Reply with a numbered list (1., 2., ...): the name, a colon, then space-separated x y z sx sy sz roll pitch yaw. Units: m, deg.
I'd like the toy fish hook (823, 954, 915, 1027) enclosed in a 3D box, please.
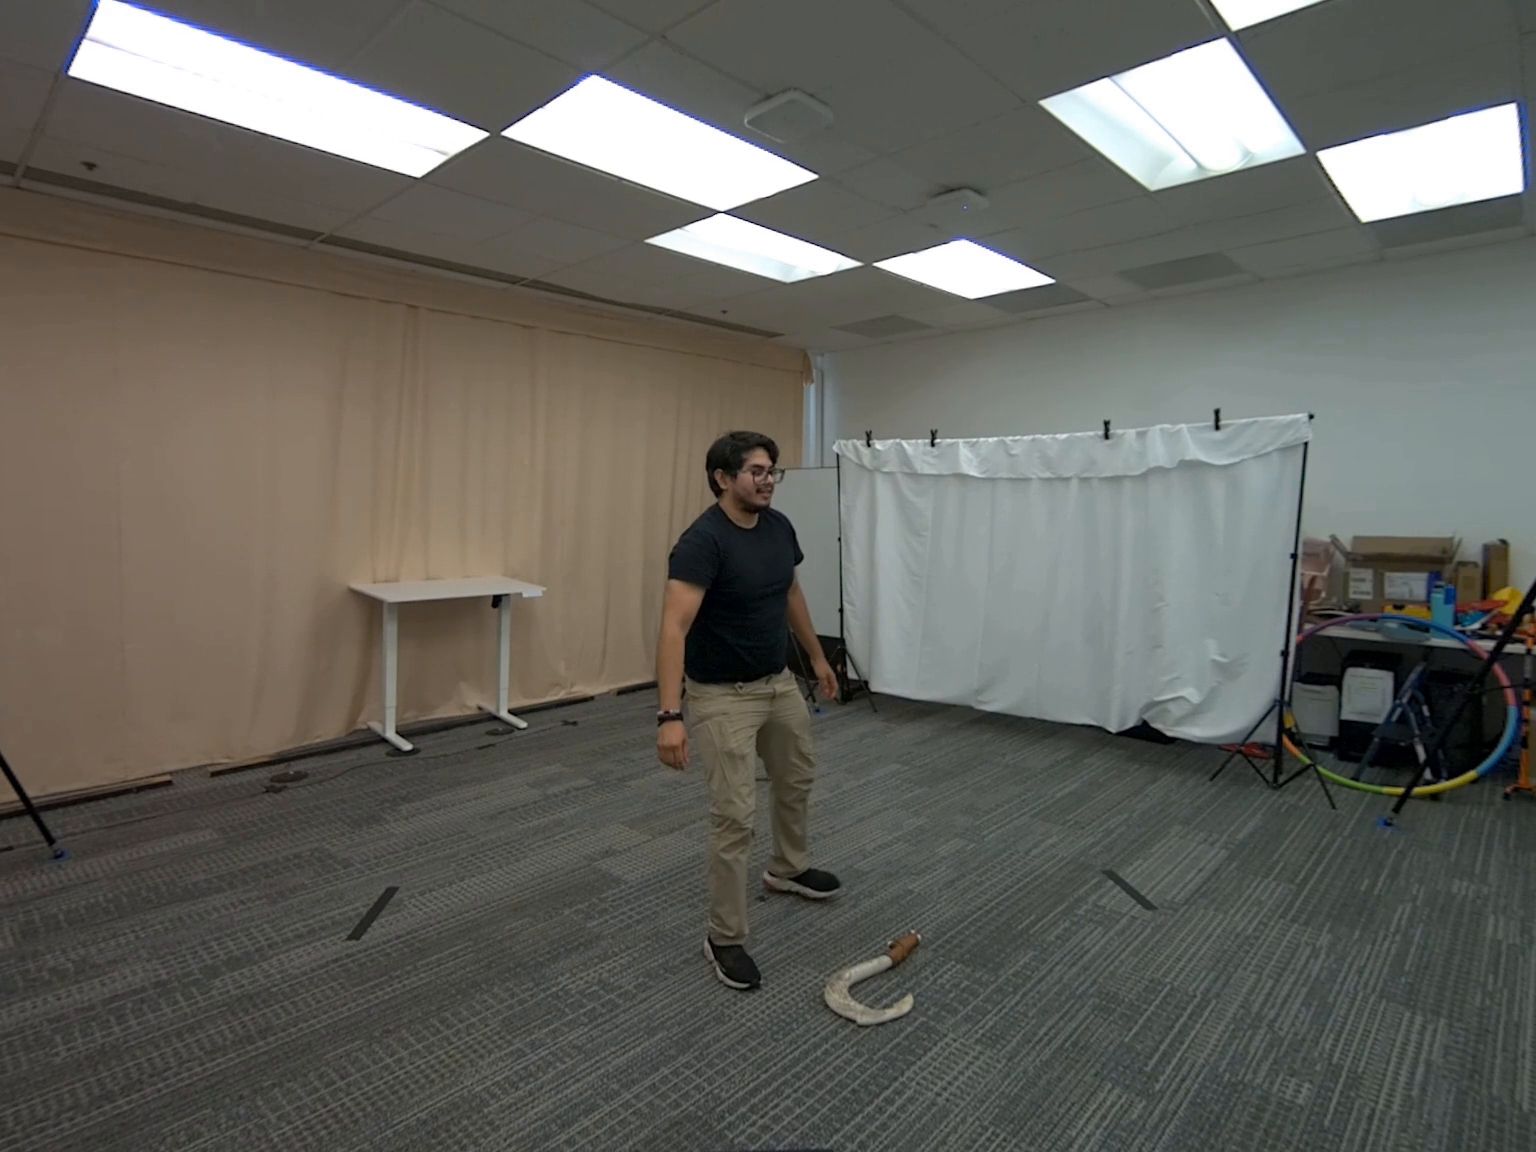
1. toy fish hook: 0.368 1.172 2.460 0.232 0.048 0.492 12 12 38
